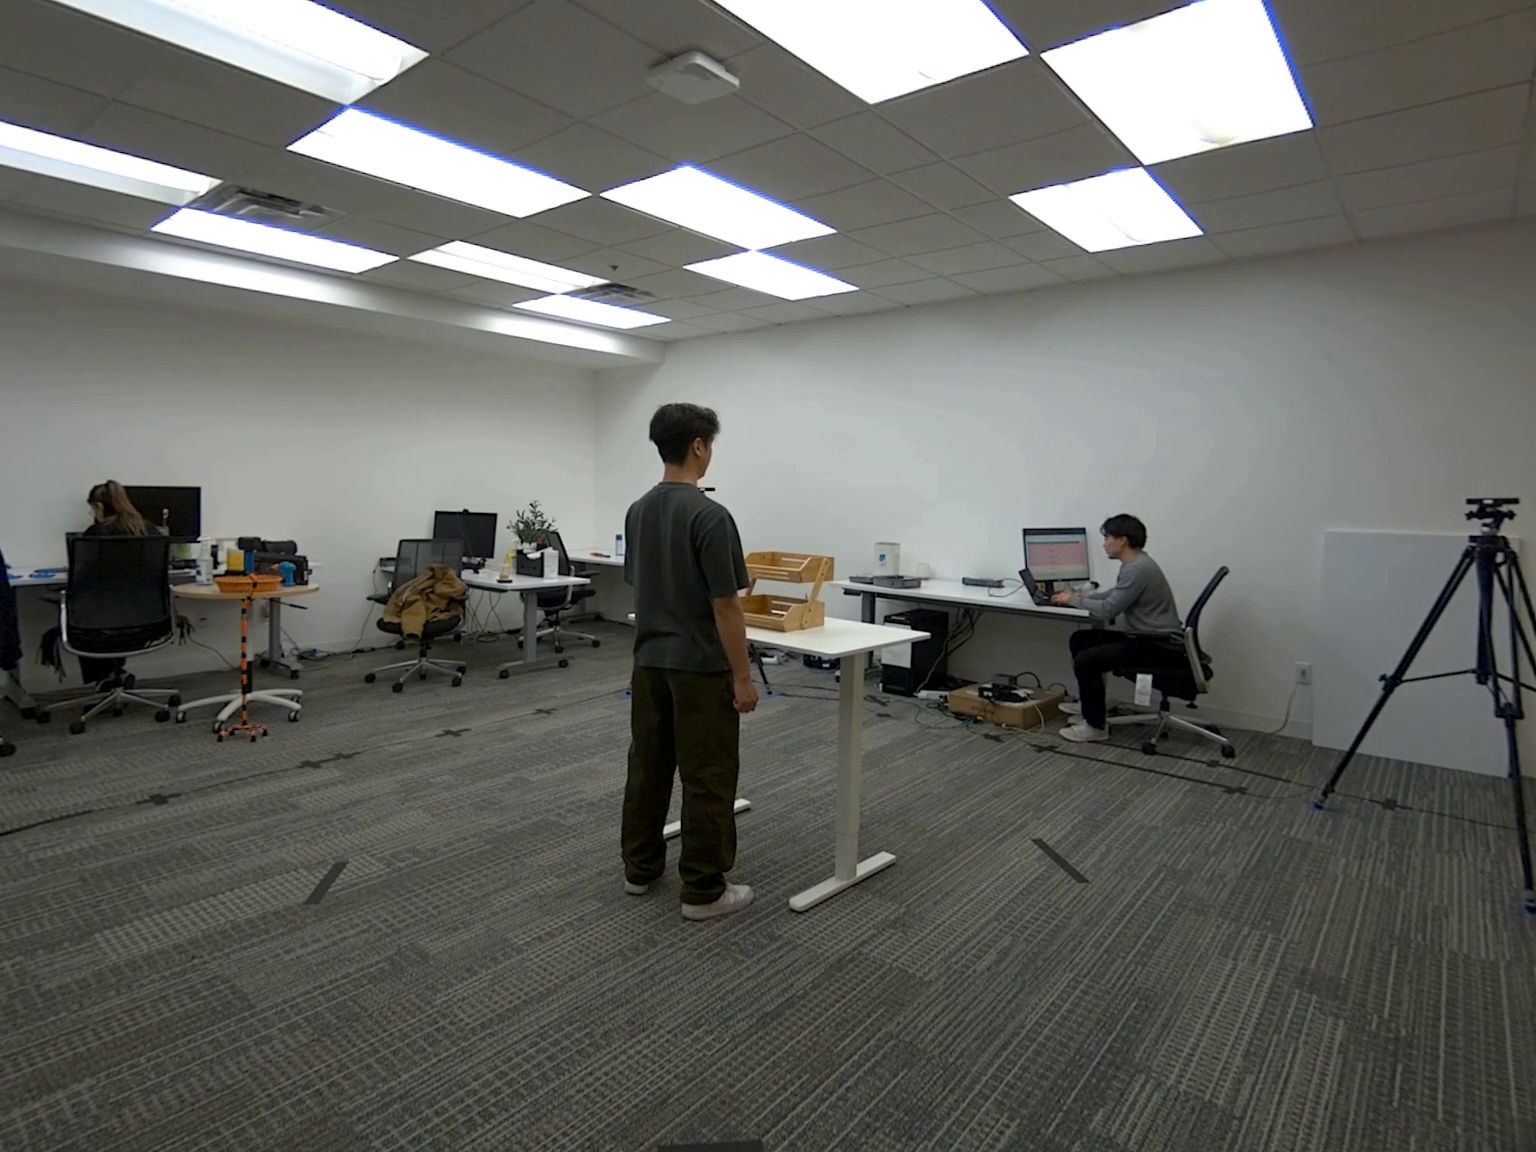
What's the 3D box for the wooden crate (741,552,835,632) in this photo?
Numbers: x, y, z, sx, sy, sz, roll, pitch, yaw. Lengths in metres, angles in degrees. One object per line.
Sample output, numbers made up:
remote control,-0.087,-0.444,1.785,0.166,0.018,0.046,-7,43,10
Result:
wooden crate,0.027,0.044,3.226,0.335,0.272,0.293,6,6,41
